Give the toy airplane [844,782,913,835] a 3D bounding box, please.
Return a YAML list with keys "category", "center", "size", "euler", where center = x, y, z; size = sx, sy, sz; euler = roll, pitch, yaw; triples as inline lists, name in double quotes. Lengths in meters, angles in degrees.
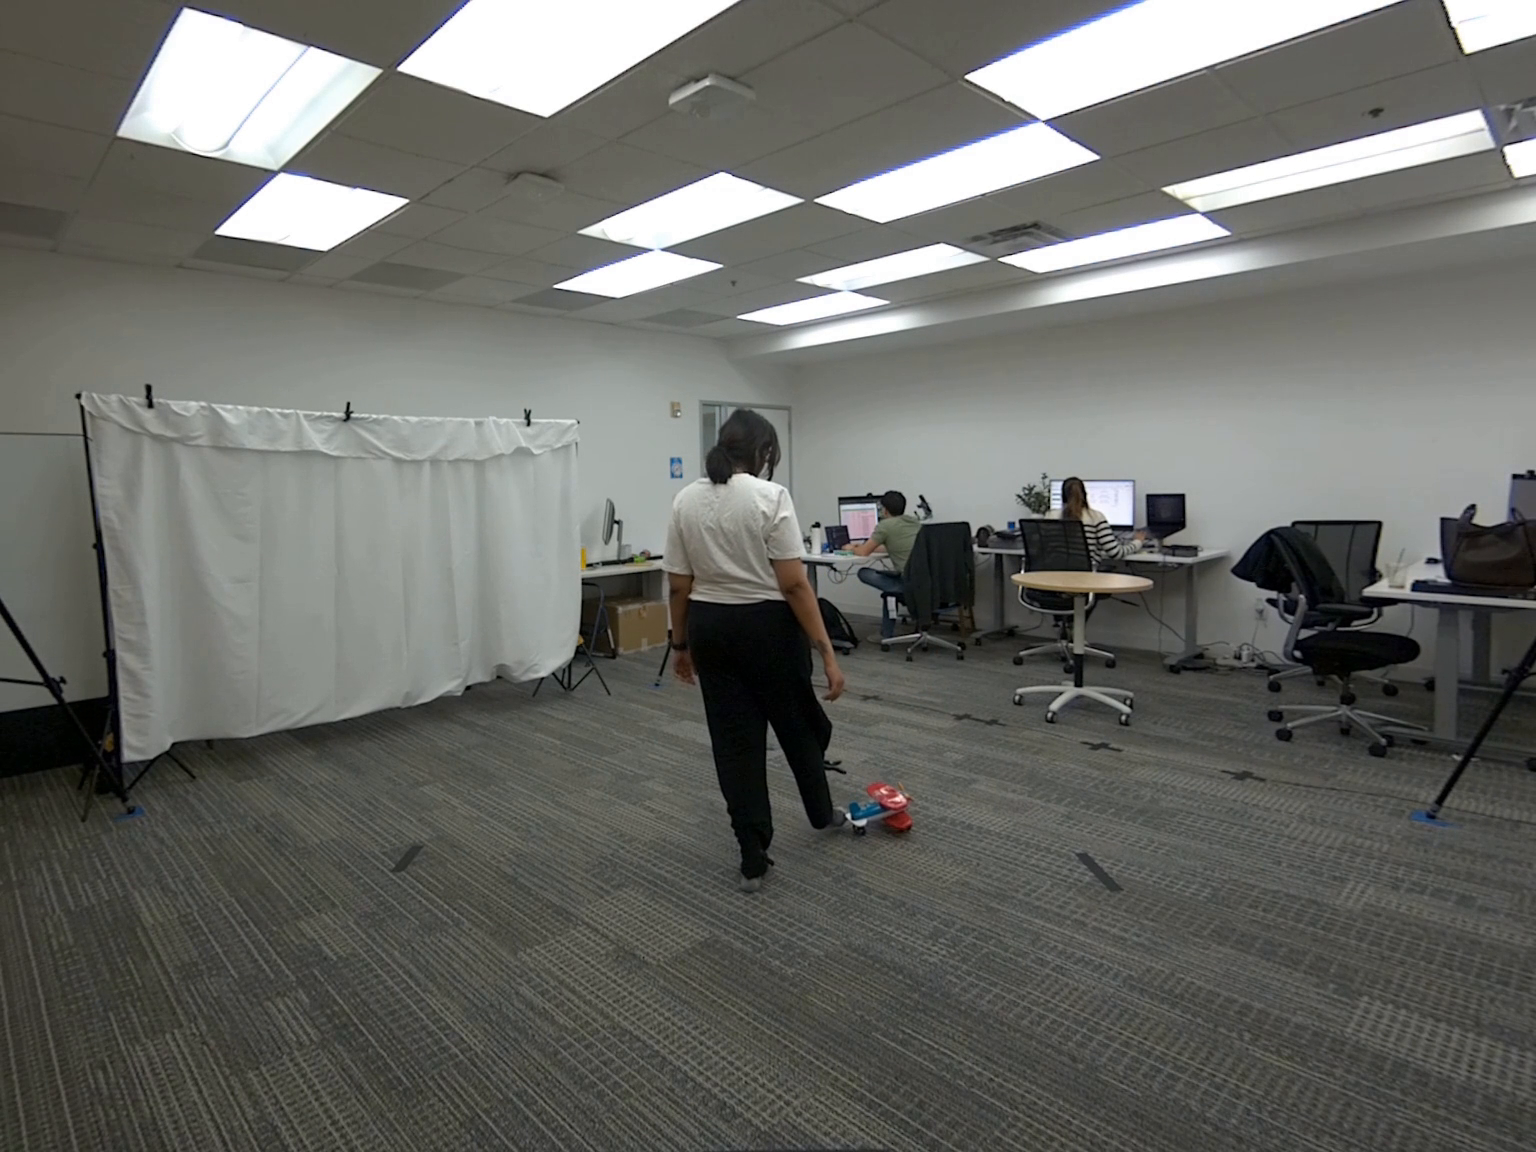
- category: "toy airplane"
  center: [0.452, 0.934, 3.369]
  size: [0.252, 0.156, 0.259]
  euler: [-6, 7, -44]
